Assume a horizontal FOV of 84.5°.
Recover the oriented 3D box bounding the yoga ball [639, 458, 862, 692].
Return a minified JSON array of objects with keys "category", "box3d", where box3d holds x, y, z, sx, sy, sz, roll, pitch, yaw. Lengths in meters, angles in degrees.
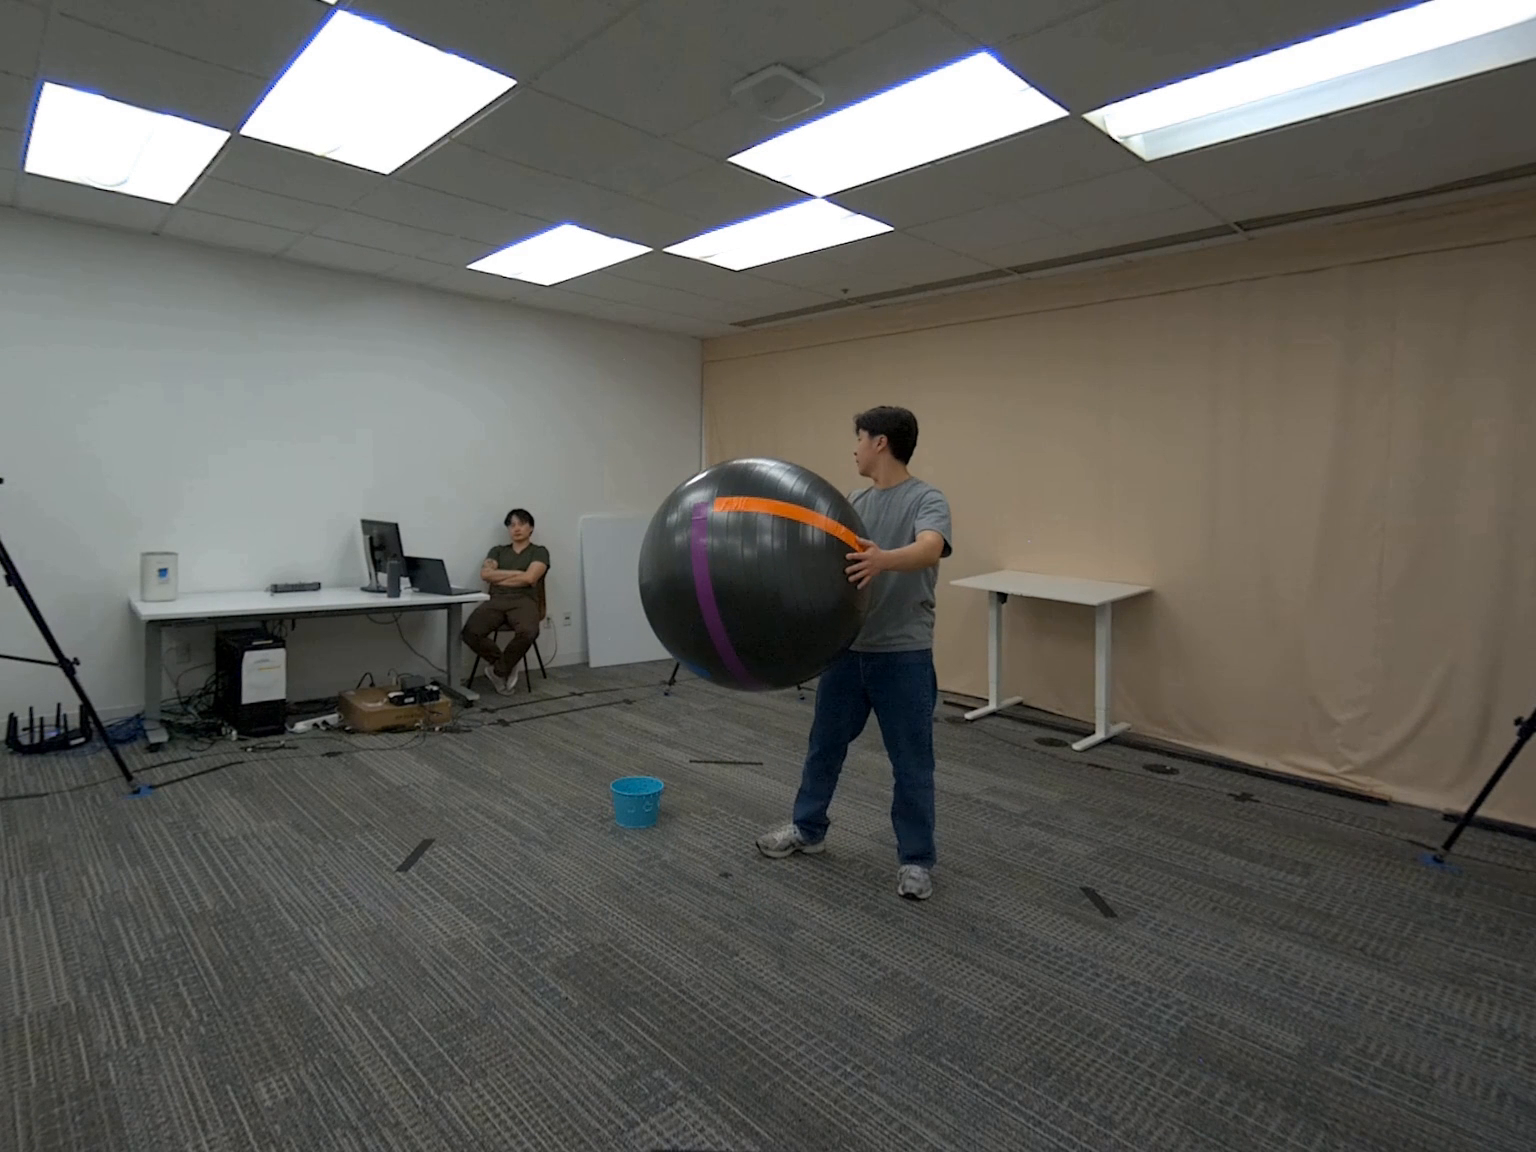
[{"category":"yoga ball","box3d":[-0.046,0.000,2.730,0.757,0.756,0.761,1,4,-1]}]
